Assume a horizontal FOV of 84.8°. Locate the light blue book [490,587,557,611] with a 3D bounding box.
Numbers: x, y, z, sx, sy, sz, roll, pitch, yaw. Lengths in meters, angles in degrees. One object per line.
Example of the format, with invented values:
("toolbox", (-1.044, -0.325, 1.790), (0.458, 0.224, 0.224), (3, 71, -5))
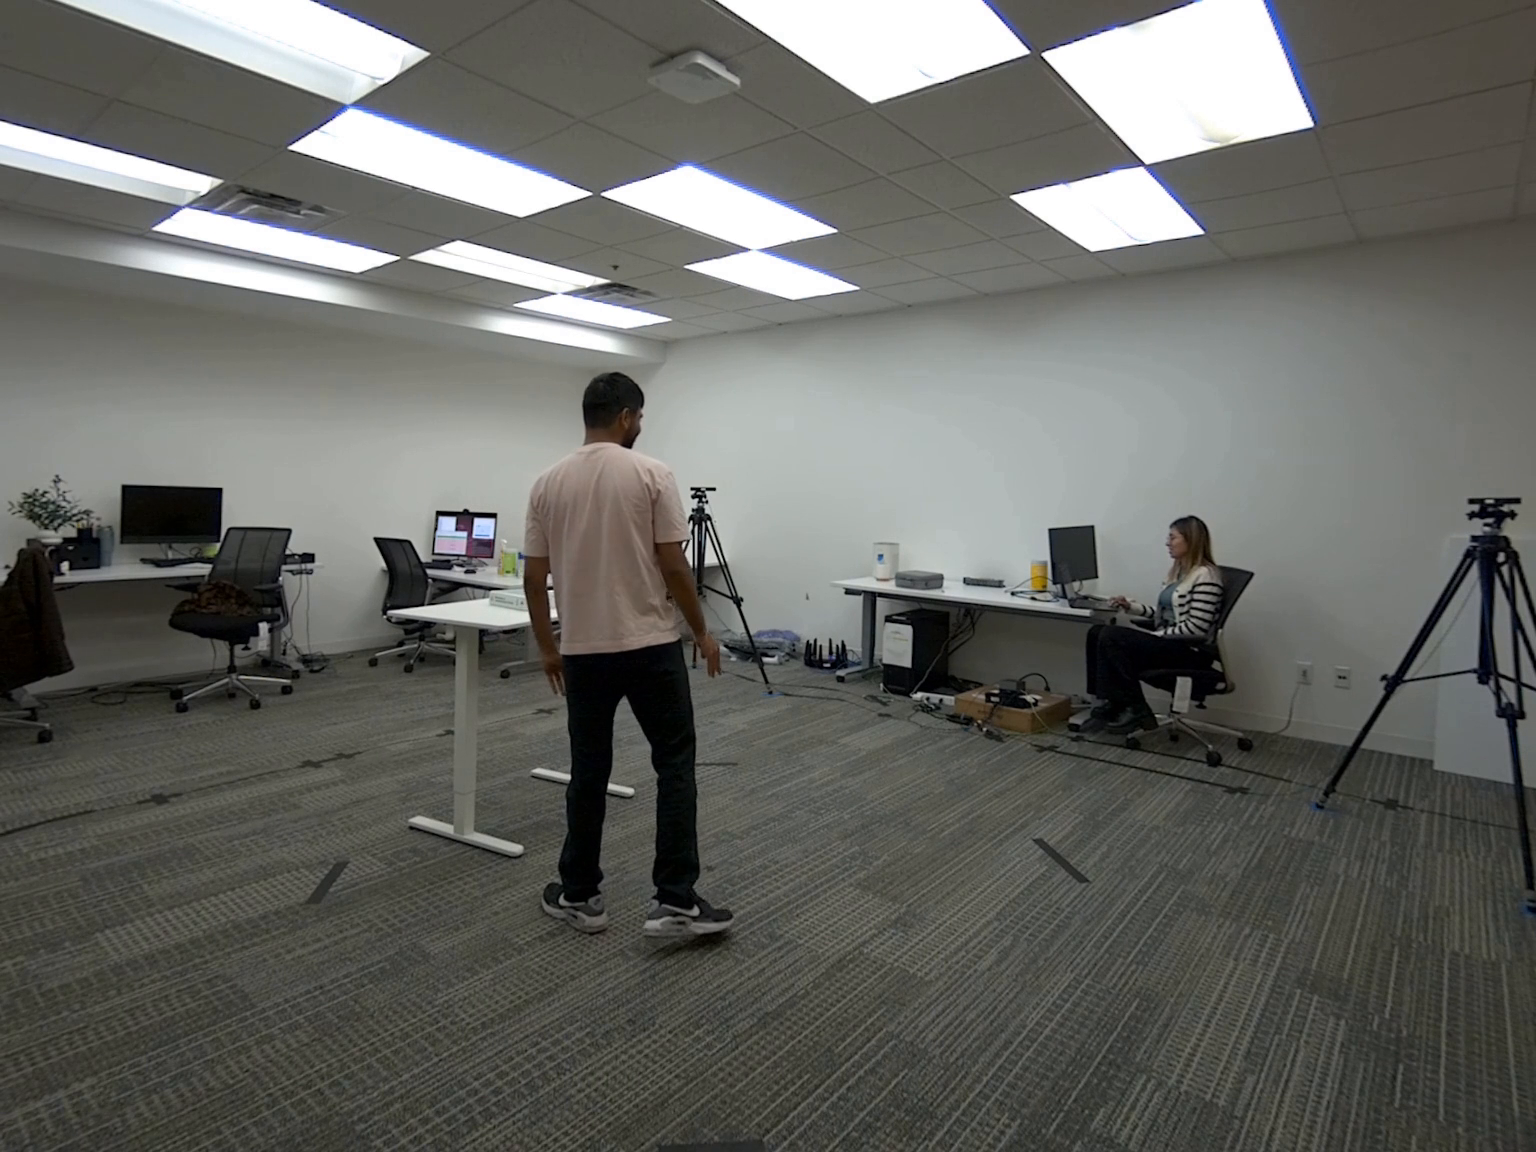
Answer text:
("light blue book", (-1.026, 0.093, 3.571), (0.270, 0.059, 0.186), (6, 7, 40))
